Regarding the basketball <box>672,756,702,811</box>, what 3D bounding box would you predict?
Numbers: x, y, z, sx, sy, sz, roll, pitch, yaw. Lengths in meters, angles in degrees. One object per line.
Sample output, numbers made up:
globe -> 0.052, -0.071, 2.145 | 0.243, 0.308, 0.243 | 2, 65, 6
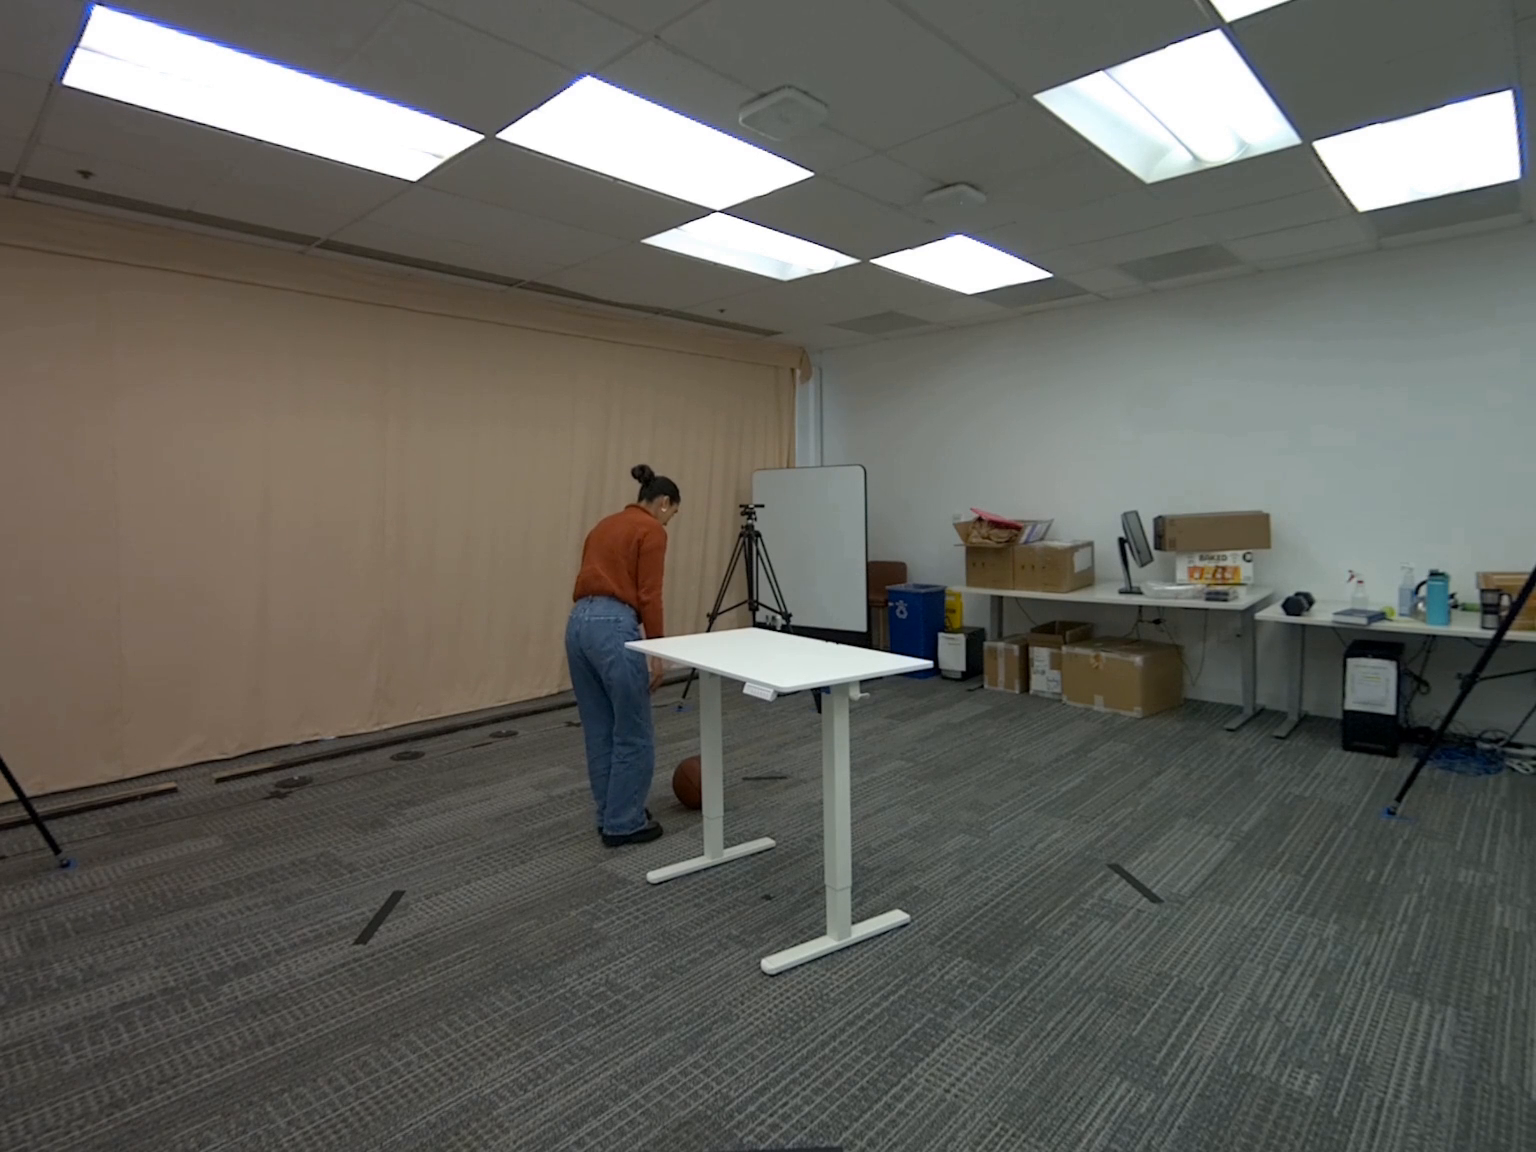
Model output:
basketball -> -0.324, 0.944, 3.895 | 0.236, 0.235, 0.237 | -1, 4, -2
